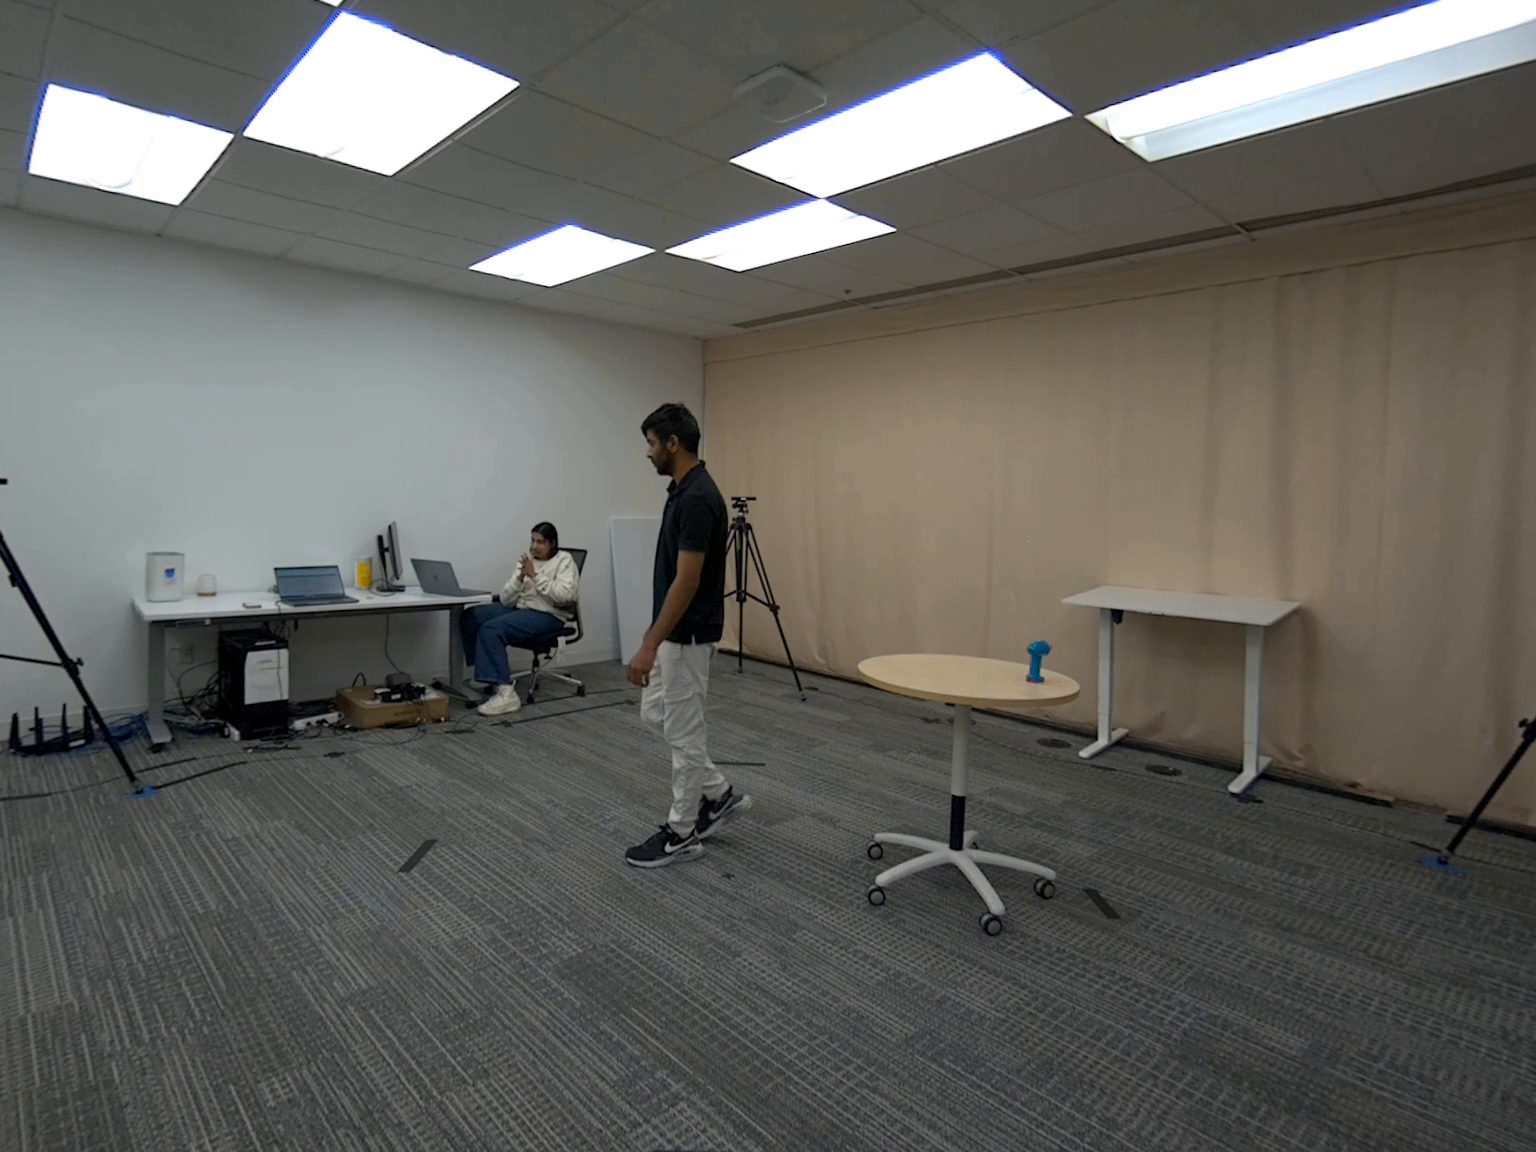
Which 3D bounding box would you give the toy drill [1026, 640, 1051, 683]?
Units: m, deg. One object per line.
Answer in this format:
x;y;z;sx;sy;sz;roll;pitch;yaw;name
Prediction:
0.952;0.297;2.984;0.062;0.146;0.166;3;1;41;toy drill
